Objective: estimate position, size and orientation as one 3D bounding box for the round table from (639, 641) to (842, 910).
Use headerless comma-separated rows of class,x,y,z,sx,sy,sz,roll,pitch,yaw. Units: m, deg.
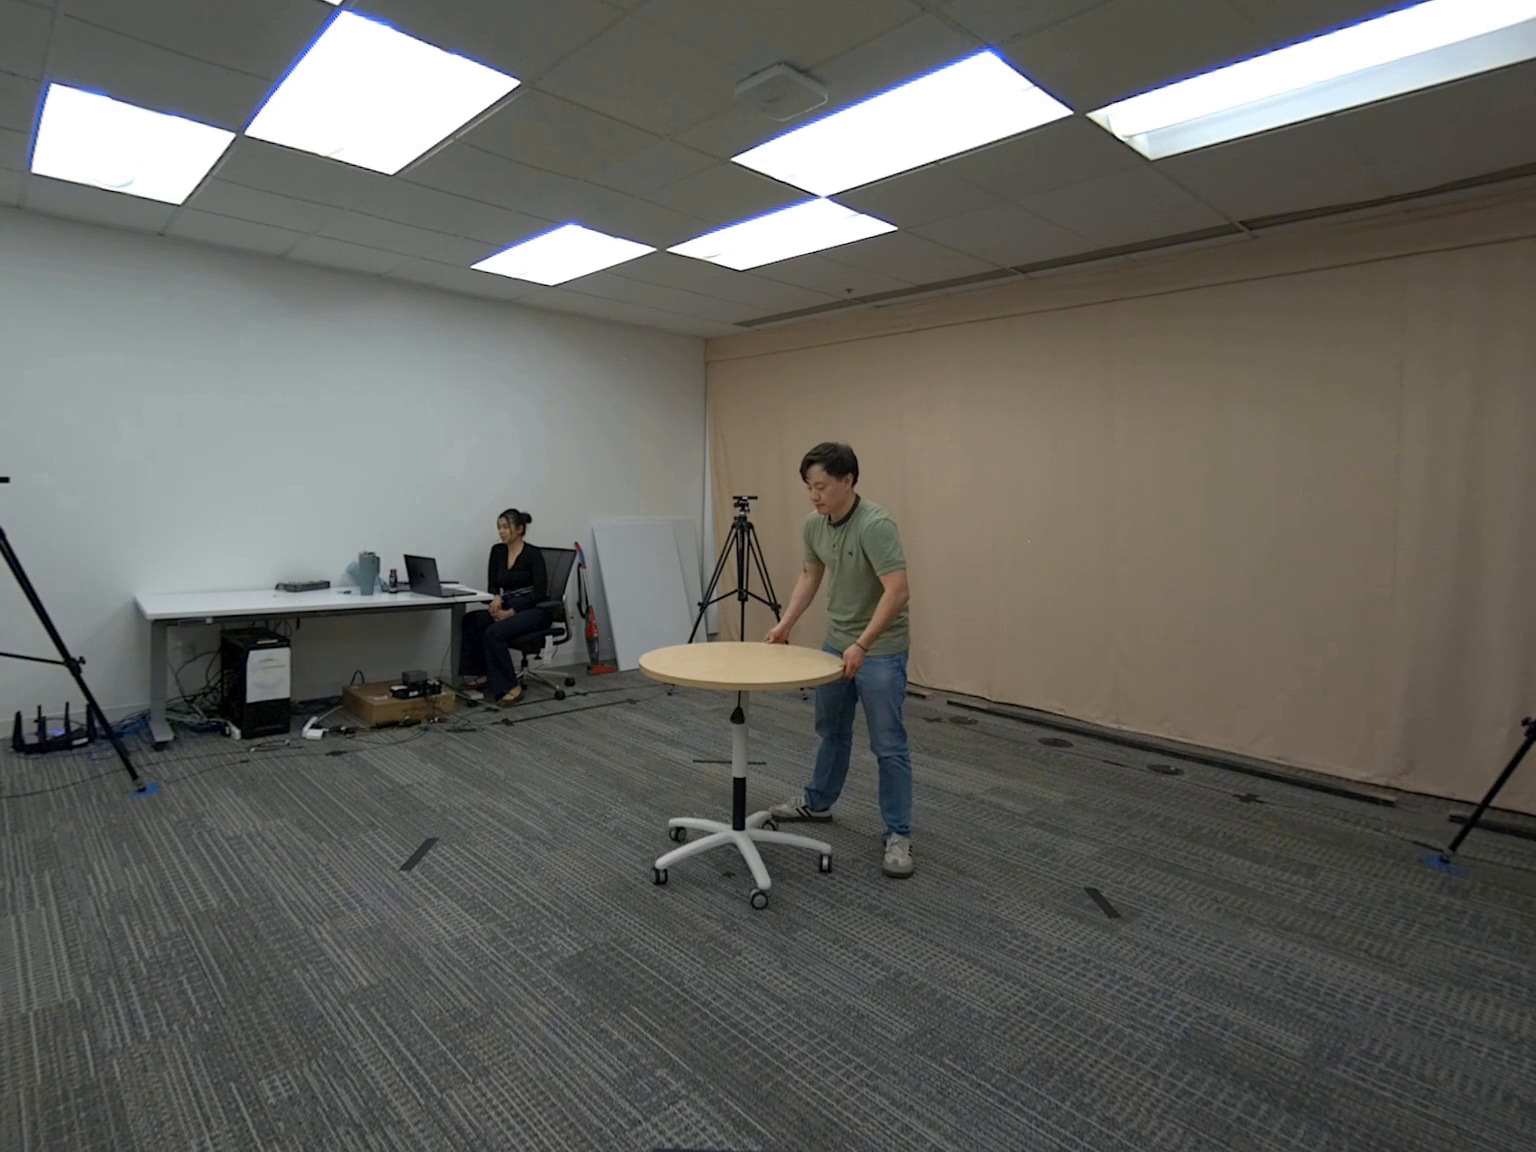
round table,-0.114,0.709,3.158,0.763,0.792,0.766,1,4,-1
